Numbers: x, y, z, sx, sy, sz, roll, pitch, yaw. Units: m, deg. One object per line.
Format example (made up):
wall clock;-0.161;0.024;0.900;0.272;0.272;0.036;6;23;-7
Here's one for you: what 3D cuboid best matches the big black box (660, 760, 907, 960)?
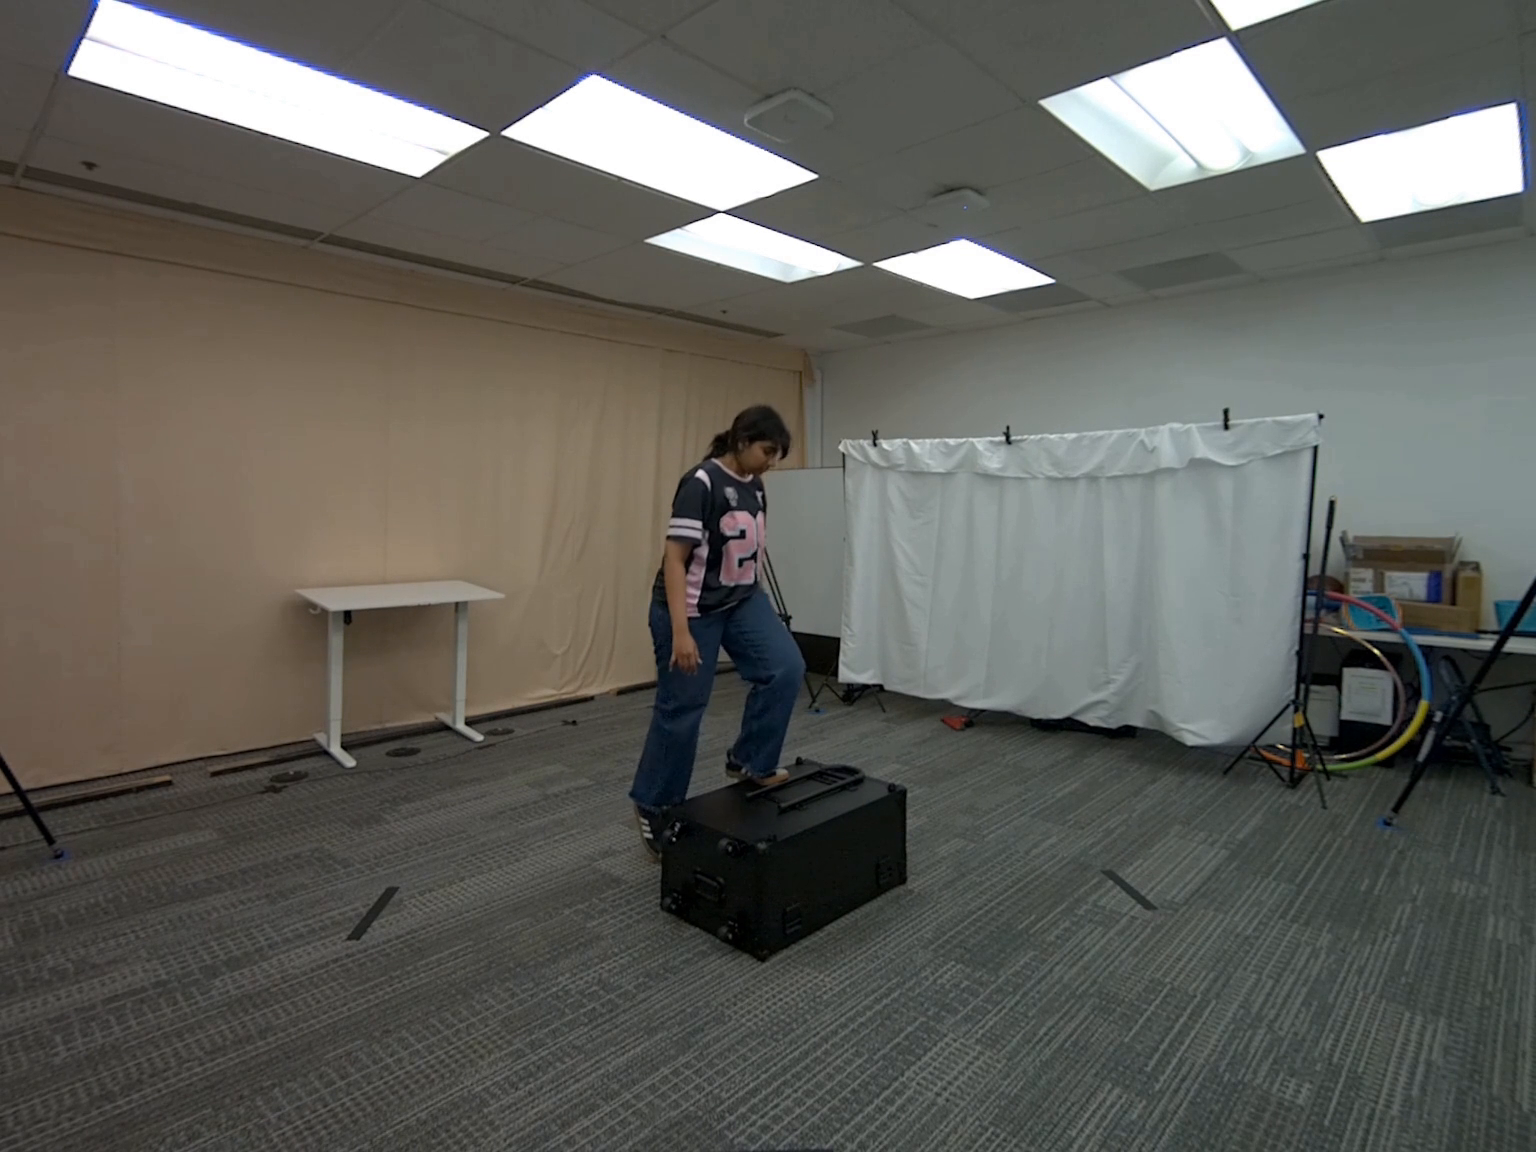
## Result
big black box;0.056;0.961;2.966;0.541;0.384;0.842;6;7;44
